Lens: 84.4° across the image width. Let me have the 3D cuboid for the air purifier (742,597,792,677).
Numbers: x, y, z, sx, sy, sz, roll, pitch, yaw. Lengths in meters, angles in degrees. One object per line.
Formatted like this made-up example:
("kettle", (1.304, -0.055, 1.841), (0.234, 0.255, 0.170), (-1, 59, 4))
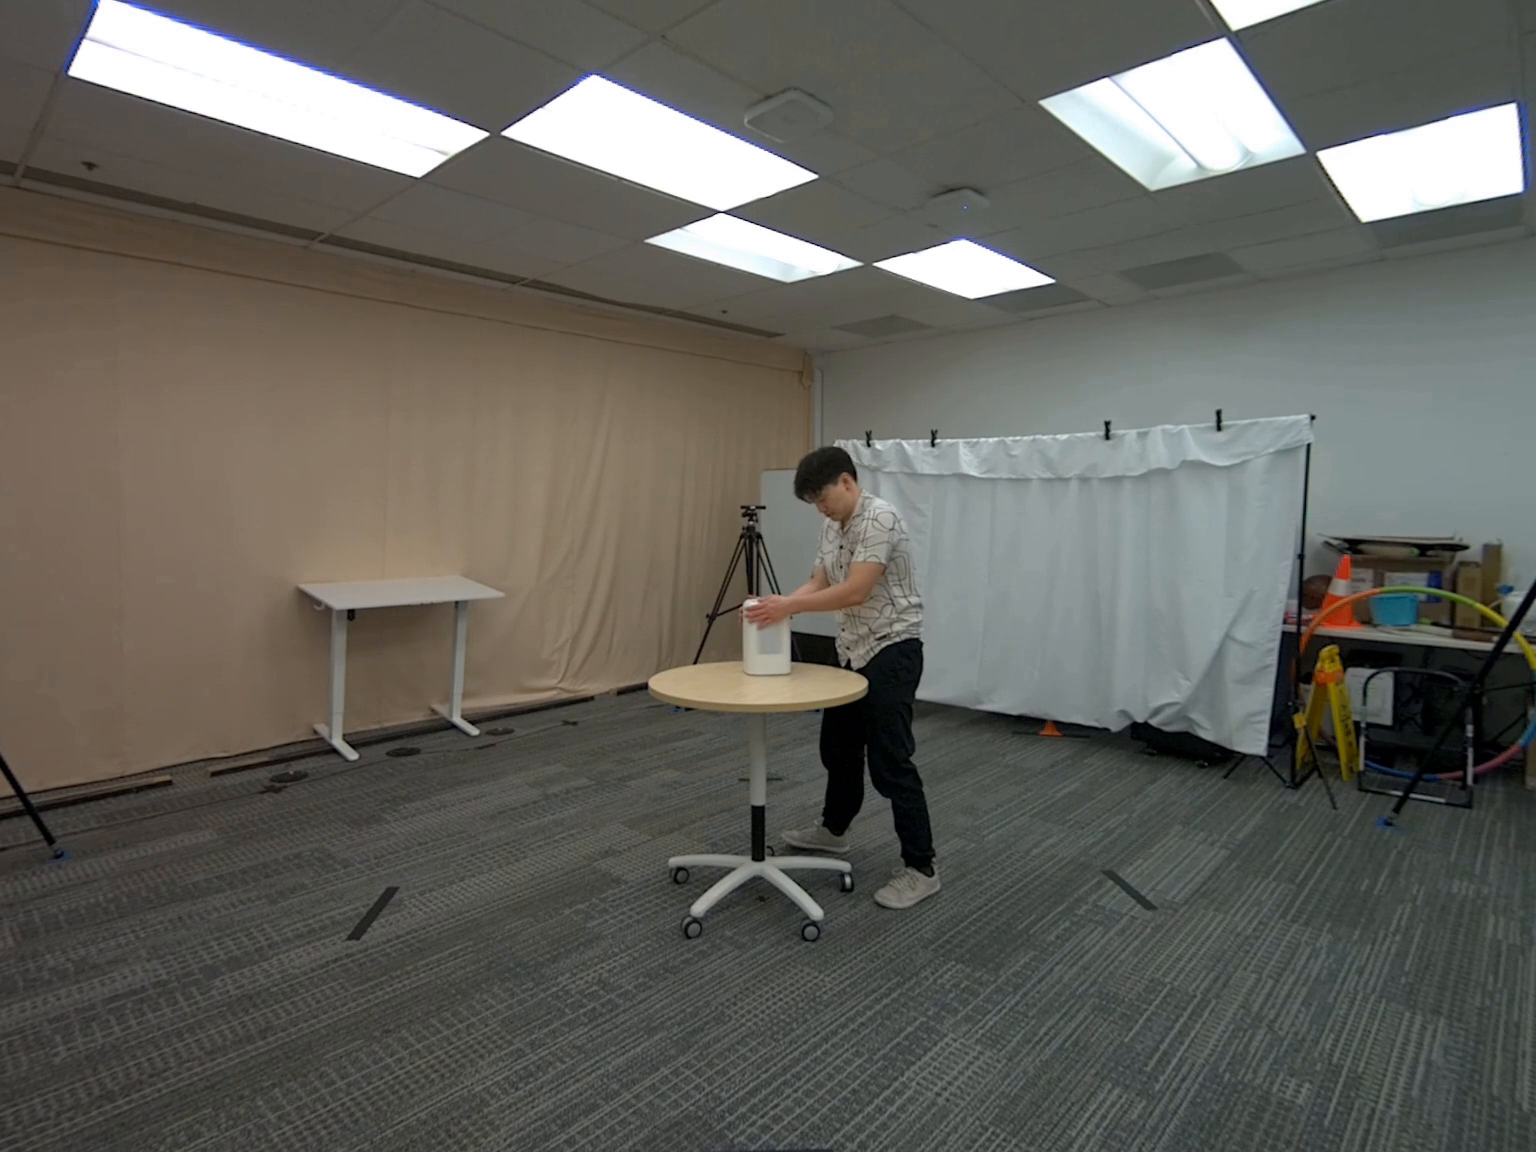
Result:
("air purifier", (-0.001, 0.224, 3.109), (0.171, 0.265, 0.172), (-2, 0, -4))
